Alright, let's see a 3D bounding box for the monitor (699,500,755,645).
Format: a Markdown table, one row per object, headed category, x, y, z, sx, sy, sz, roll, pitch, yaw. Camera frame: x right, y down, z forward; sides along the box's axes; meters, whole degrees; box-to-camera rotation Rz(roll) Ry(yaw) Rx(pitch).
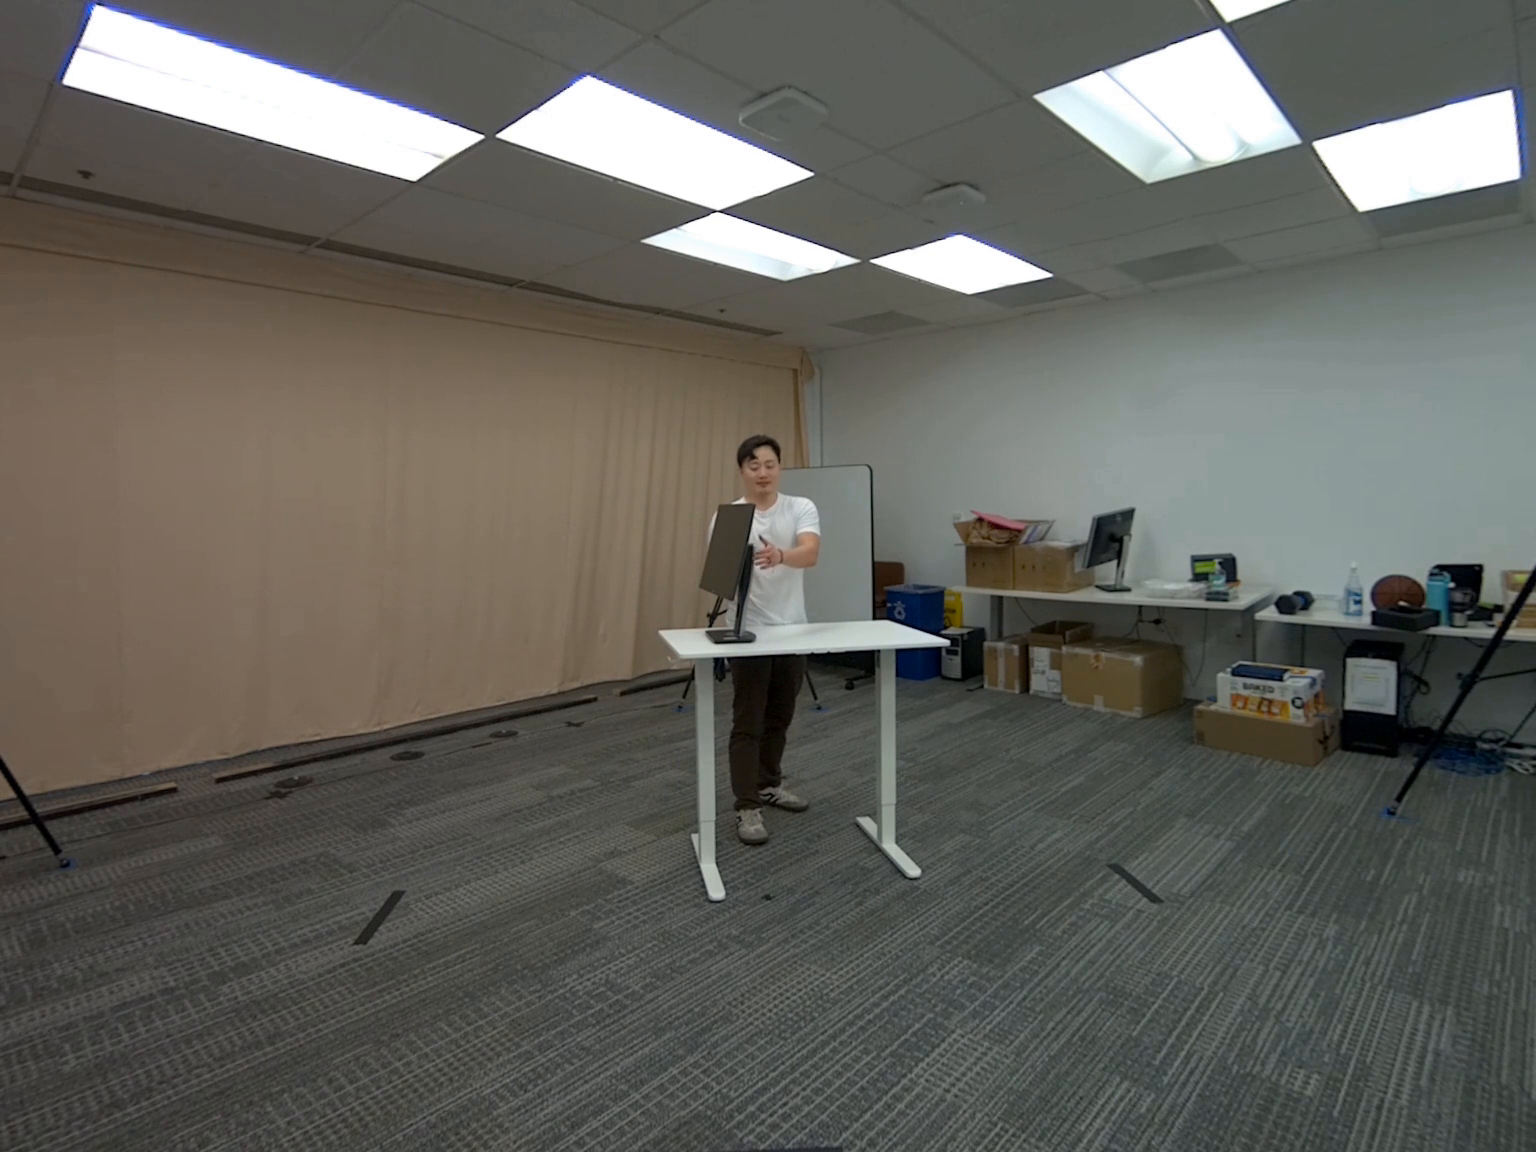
| category | x | y | z | sx | sy | sz | roll | pitch | yaw |
| --- | --- | --- | --- | --- | --- | --- | --- | --- | --- |
| monitor | -0.130 | -0.015 | 3.222 | 0.184 | 0.522 | 0.548 | 1 | 3 | -16 |
